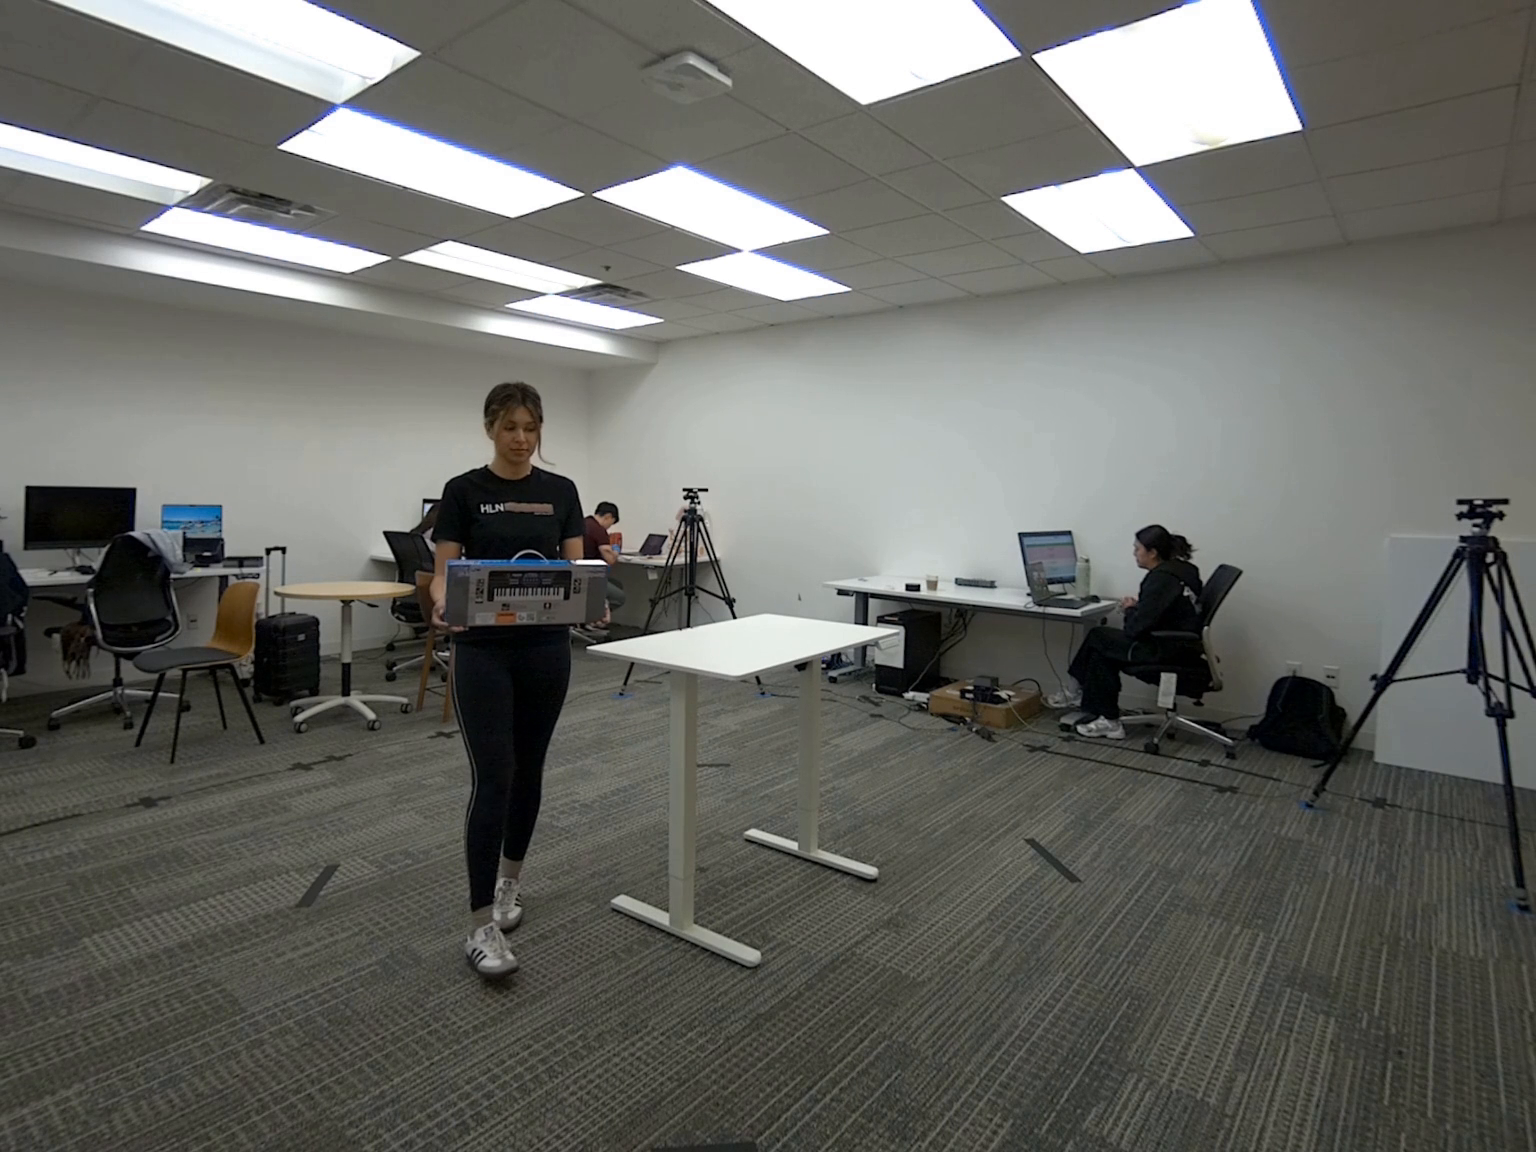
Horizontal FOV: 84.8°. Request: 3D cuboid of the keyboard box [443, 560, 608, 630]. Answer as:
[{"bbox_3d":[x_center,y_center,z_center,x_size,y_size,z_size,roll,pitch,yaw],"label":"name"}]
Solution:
[{"bbox_3d":[-0.672,0.044,2.342,0.426,0.174,0.061,0,12,-26],"label":"keyboard box"}]
